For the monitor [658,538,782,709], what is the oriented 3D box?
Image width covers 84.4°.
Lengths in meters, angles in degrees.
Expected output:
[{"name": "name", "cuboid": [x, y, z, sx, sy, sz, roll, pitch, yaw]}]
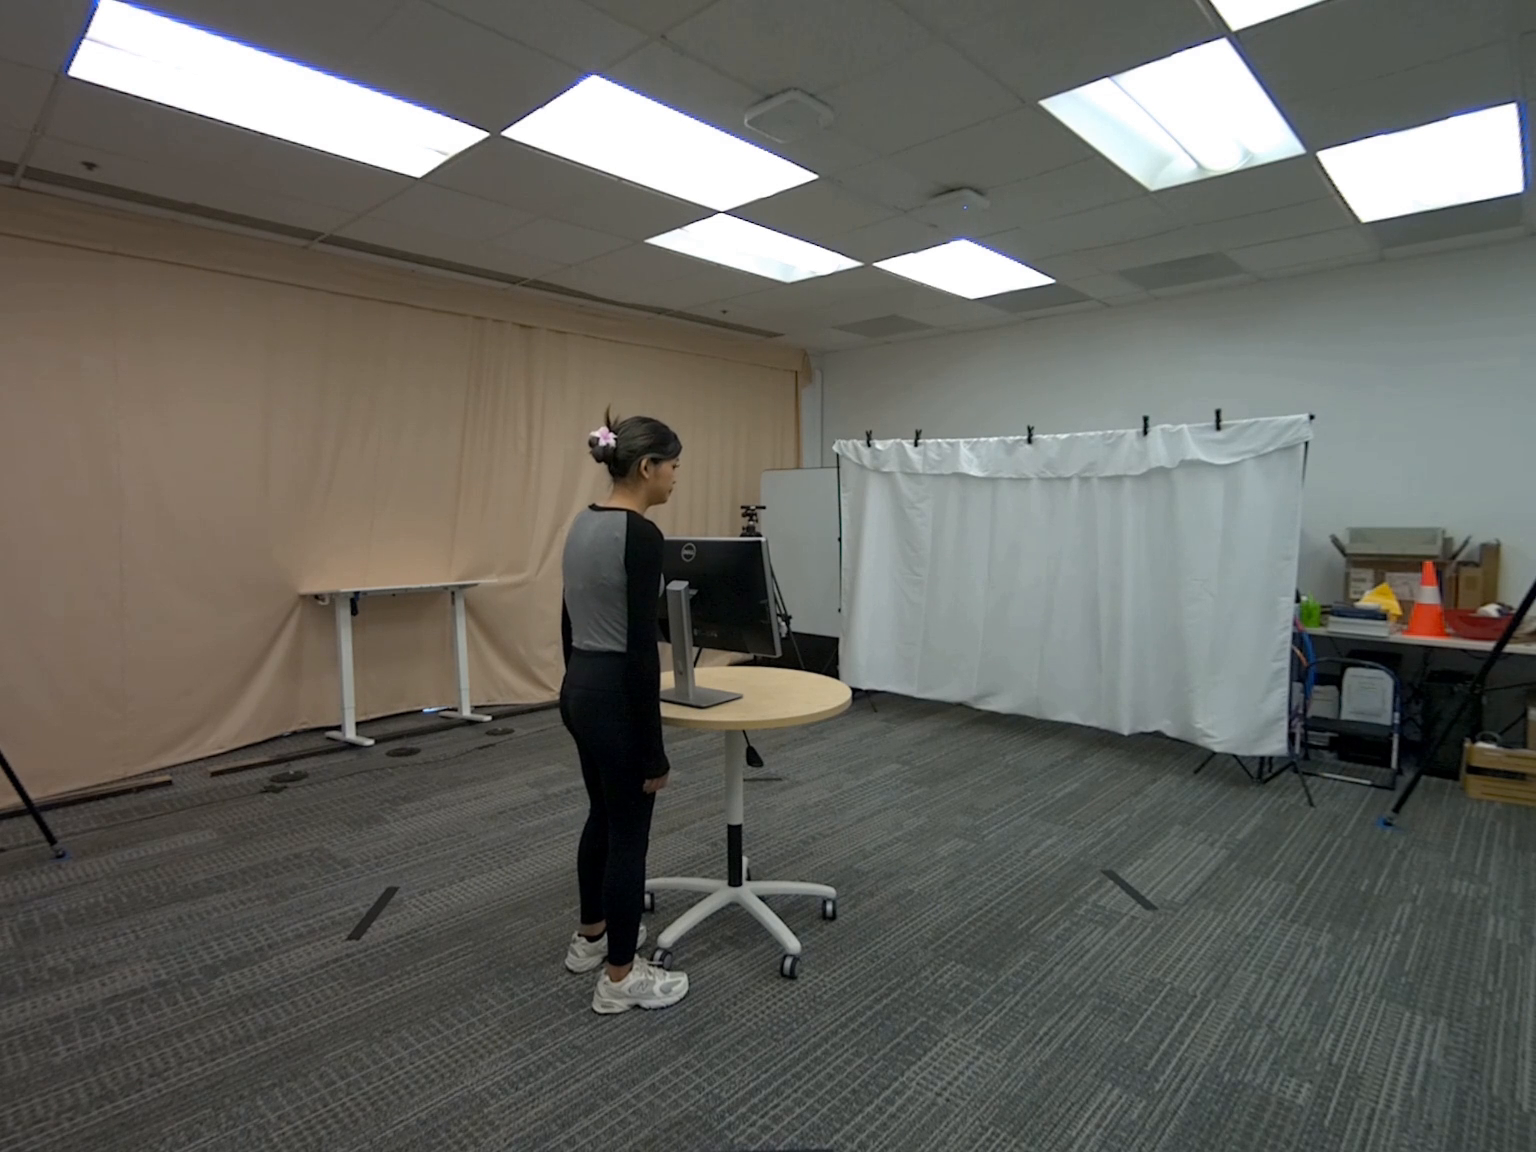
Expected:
[{"name": "monitor", "cuboid": [-0.223, 0.138, 2.640, 0.547, 0.517, 0.169, 1, -4, 38]}]
